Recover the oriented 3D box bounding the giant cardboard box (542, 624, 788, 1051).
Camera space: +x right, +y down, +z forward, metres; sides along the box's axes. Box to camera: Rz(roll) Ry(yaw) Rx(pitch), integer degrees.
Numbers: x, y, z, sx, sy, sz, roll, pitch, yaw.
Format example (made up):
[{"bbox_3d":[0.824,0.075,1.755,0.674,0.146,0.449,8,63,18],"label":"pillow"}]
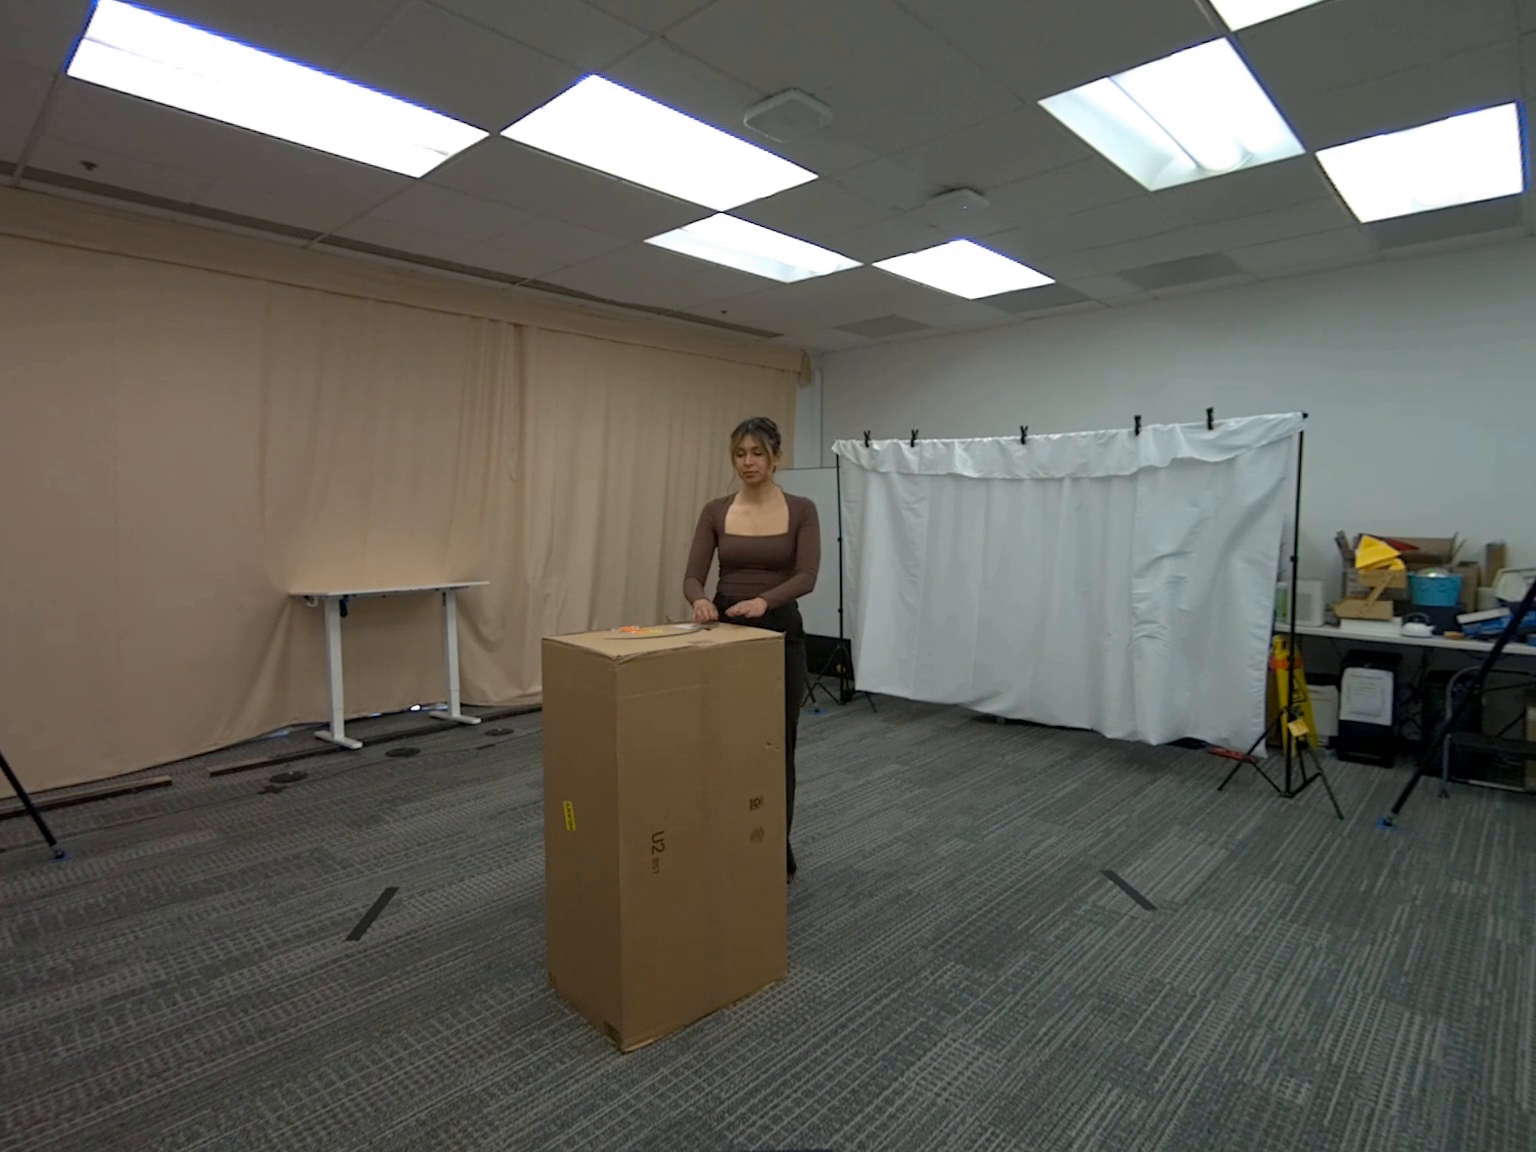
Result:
[{"bbox_3d":[-0.303,0.682,2.449,0.566,1.025,0.461,-2,3,-38],"label":"giant cardboard box"}]
